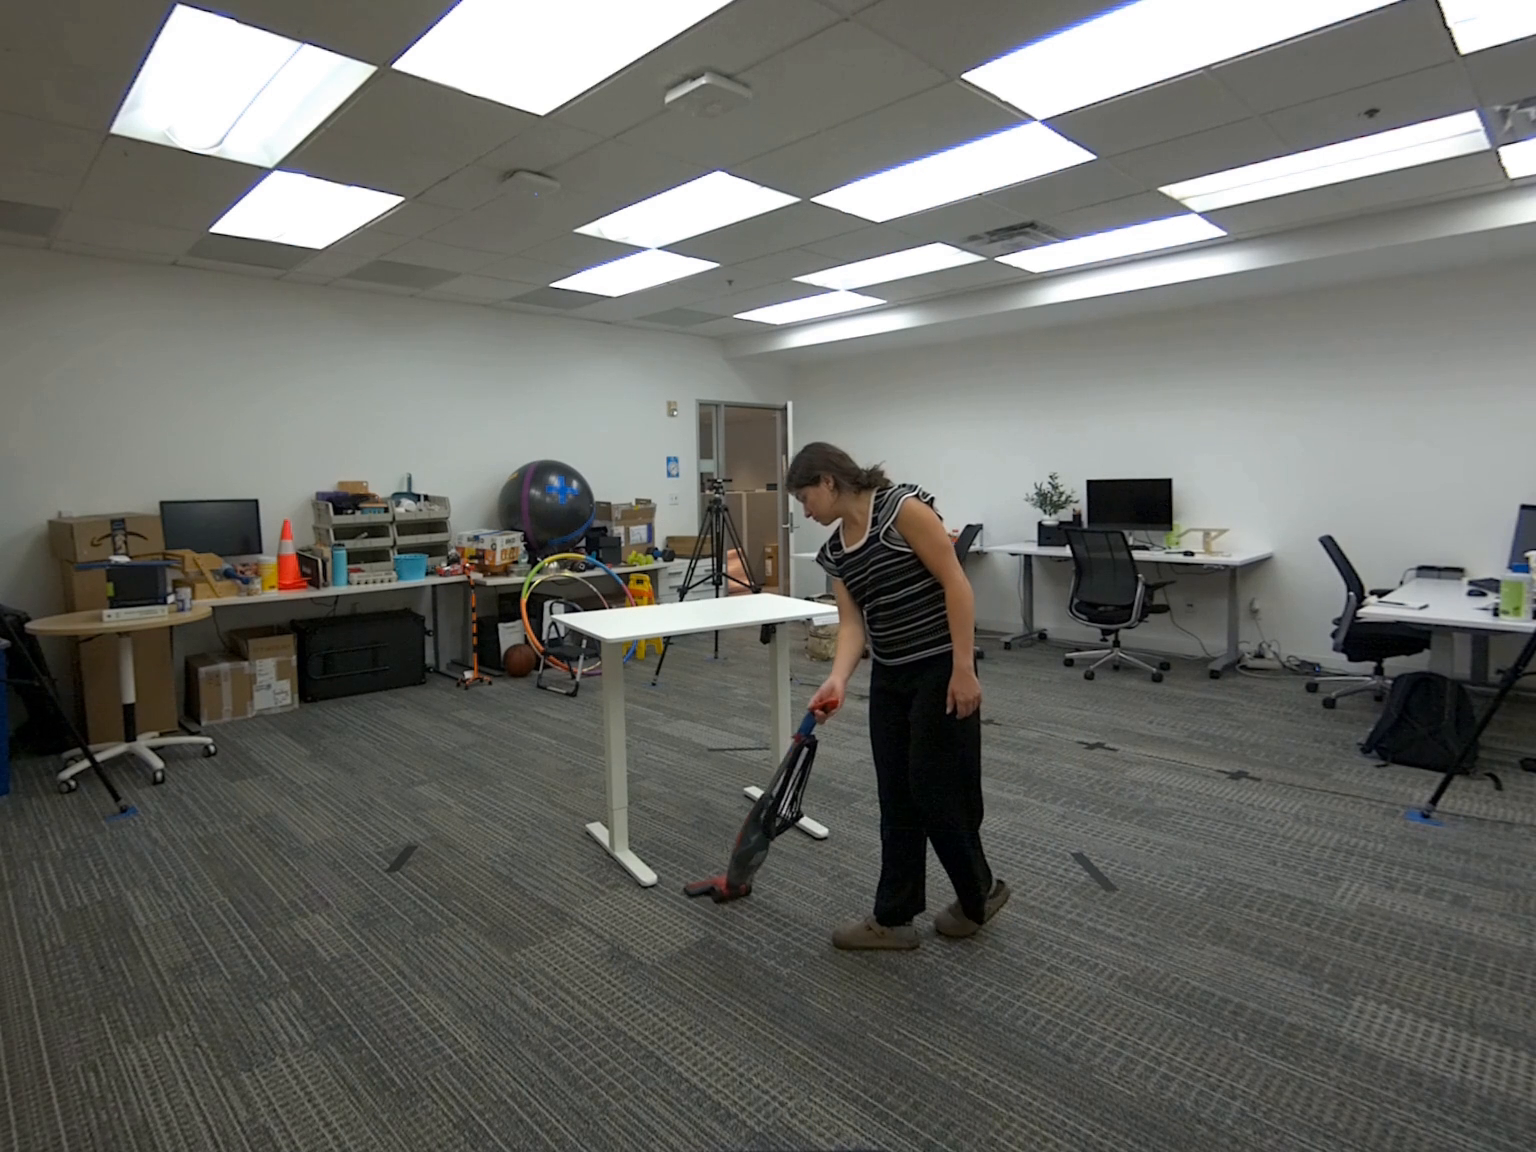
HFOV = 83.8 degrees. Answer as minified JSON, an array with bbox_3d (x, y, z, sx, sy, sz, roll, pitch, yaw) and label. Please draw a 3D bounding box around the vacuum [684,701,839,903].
[{"bbox_3d":[0.006,0.712,2.576,0.247,1.035,0.149,-8,51,-32],"label":"vacuum"}]
